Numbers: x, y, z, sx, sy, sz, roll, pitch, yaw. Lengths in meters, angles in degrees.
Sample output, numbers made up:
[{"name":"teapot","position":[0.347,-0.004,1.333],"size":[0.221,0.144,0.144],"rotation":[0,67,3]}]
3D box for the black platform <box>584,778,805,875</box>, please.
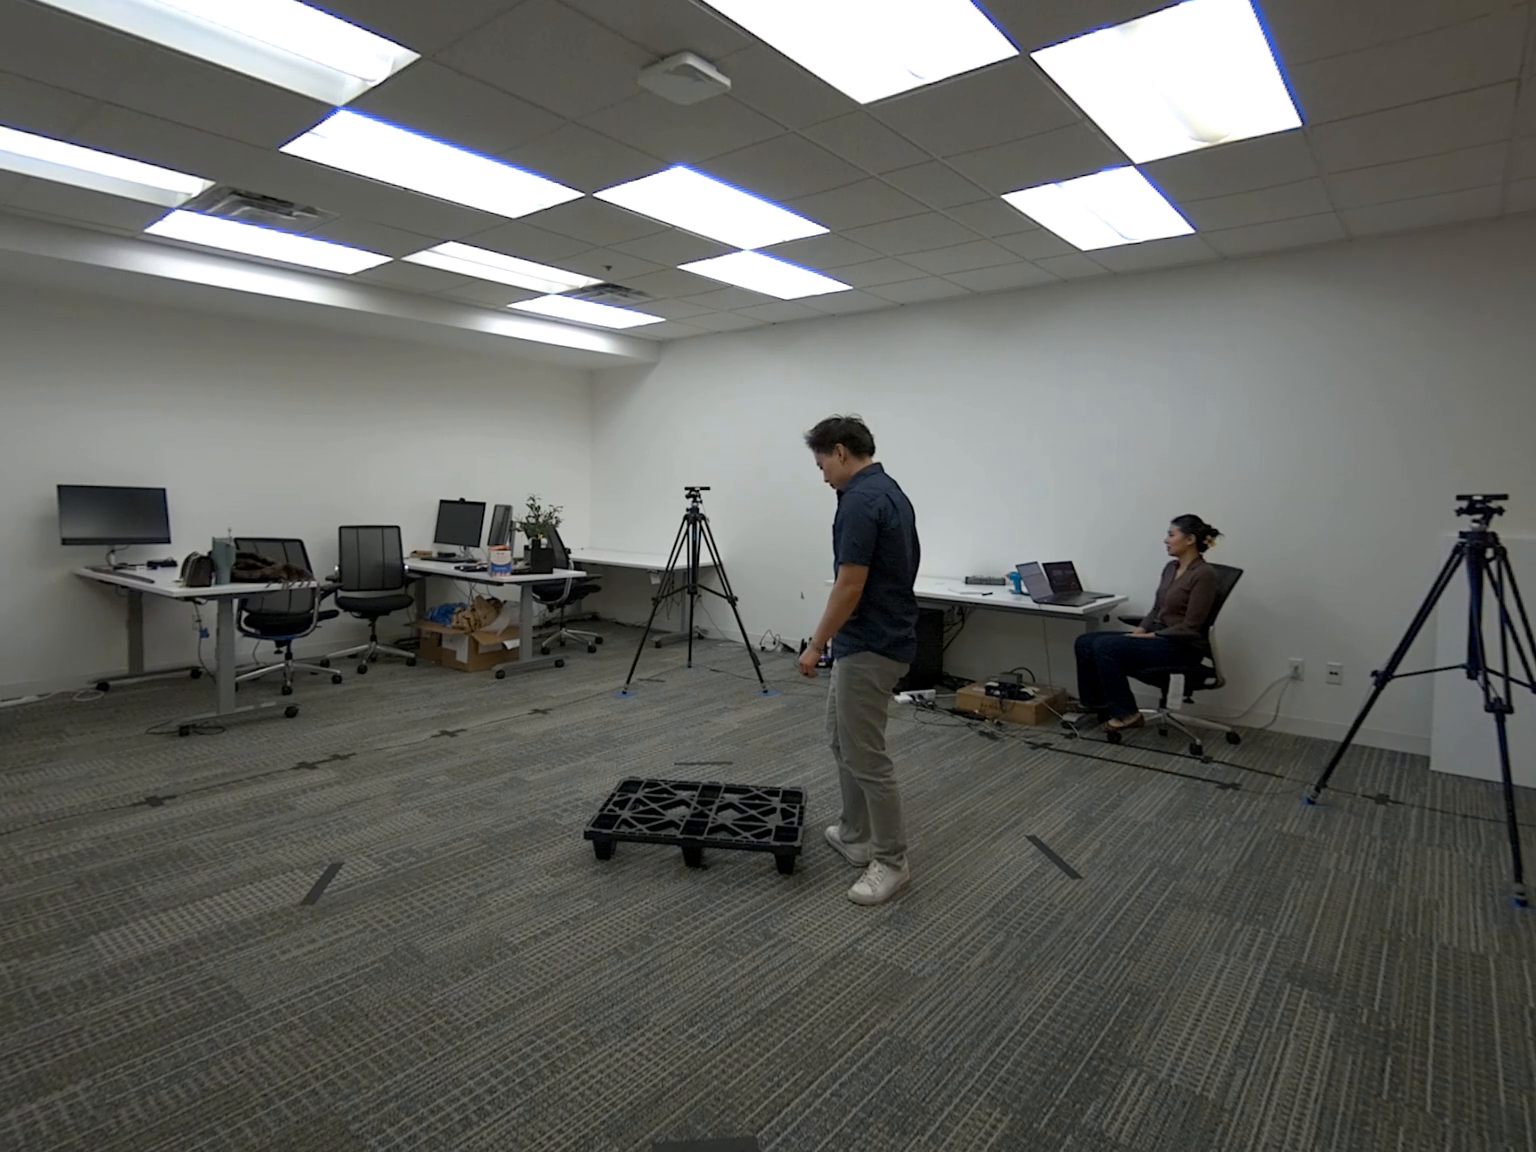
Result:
[{"name":"black platform","position":[-0.265,0.973,3.342],"size":[0.812,0.143,0.603],"rotation":[1,6,7]}]
